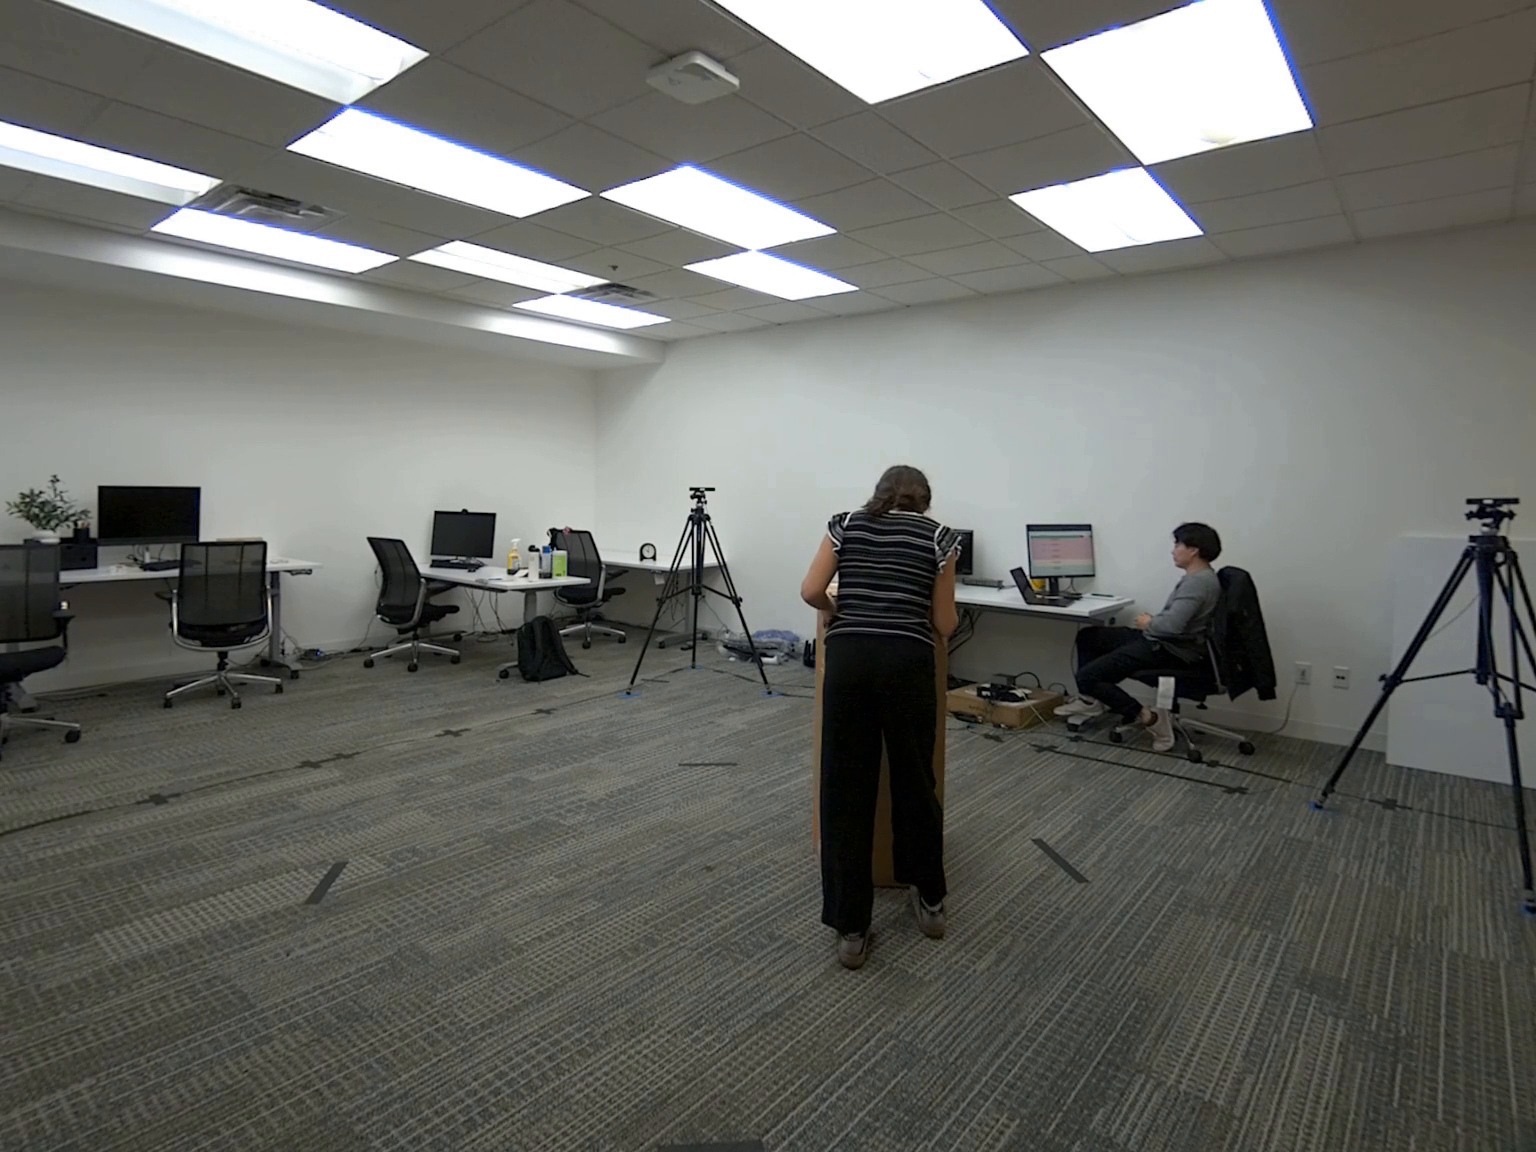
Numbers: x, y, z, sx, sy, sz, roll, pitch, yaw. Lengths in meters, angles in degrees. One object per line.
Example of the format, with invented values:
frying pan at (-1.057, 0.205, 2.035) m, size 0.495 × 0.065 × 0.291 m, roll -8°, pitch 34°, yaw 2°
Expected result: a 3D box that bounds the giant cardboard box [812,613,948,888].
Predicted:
giant cardboard box at (0.396, 0.556, 3.250) m, size 0.427 × 1.023 × 0.577 m, roll 1°, pitch 3°, yaw 1°
